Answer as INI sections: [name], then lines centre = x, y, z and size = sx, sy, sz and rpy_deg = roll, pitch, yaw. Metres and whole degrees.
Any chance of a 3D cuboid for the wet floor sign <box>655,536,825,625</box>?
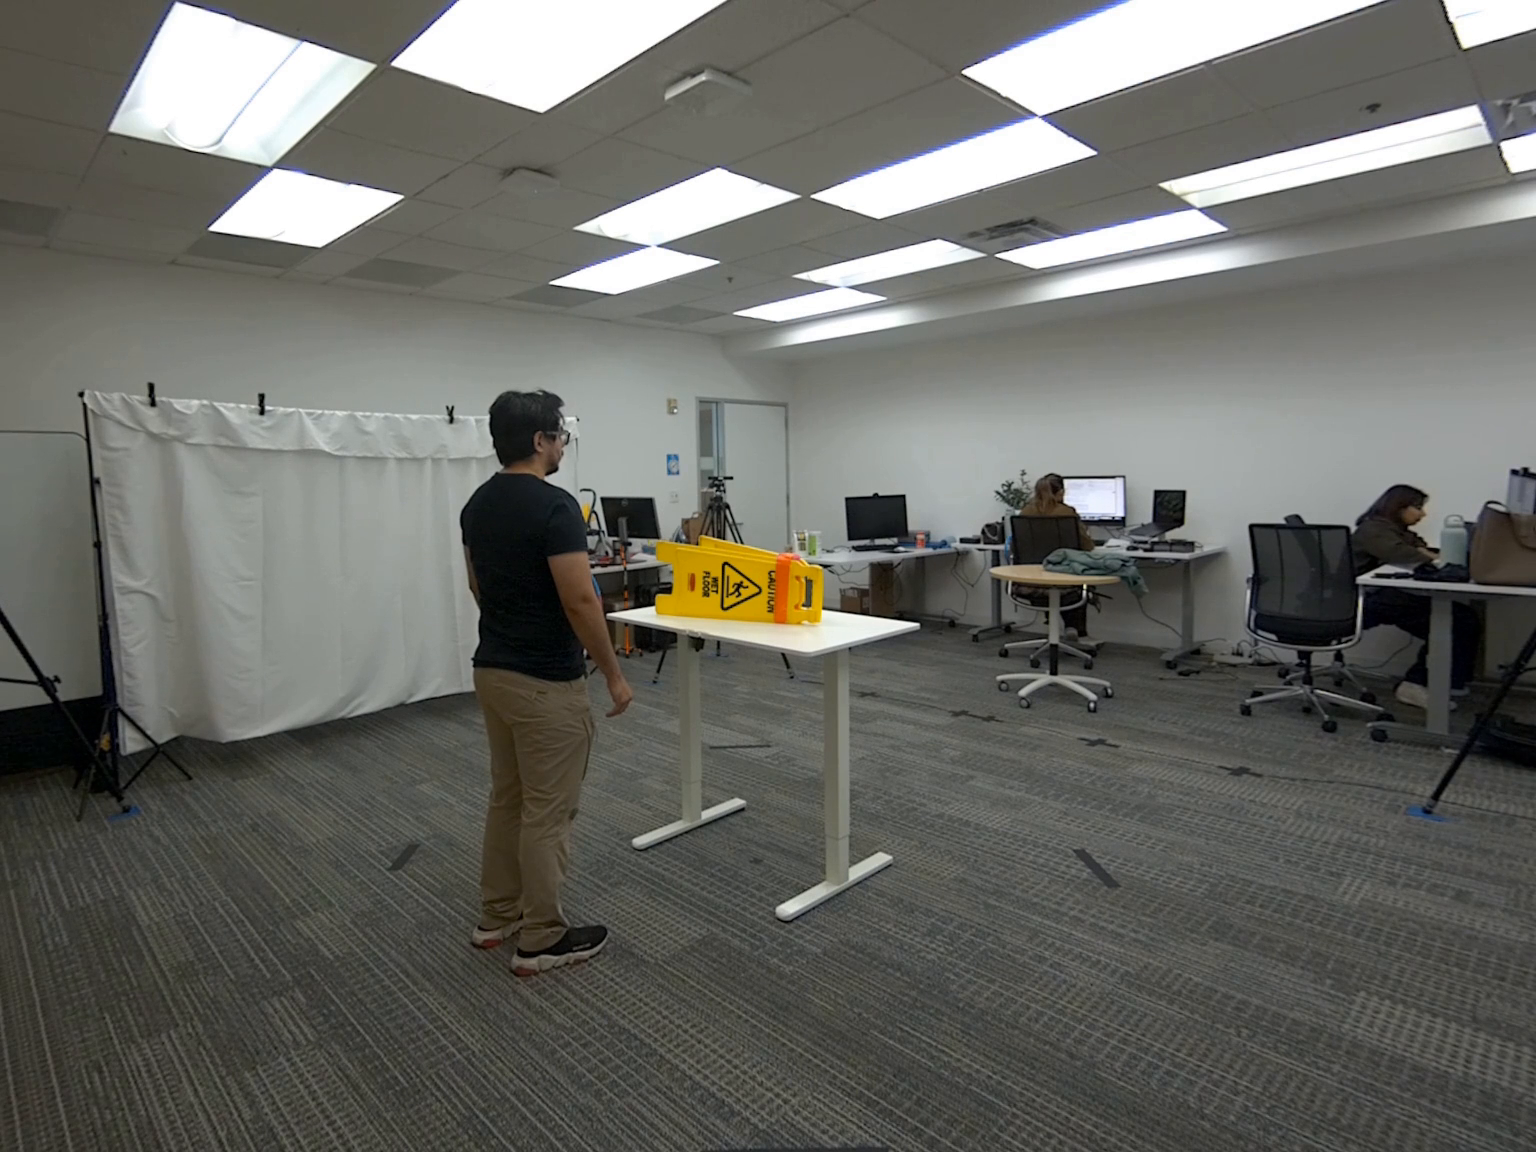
[wet floor sign]
centre = -0.080, 0.030, 3.113
size = 0.666, 0.280, 0.283
rpy_deg = 7, 10, 36
